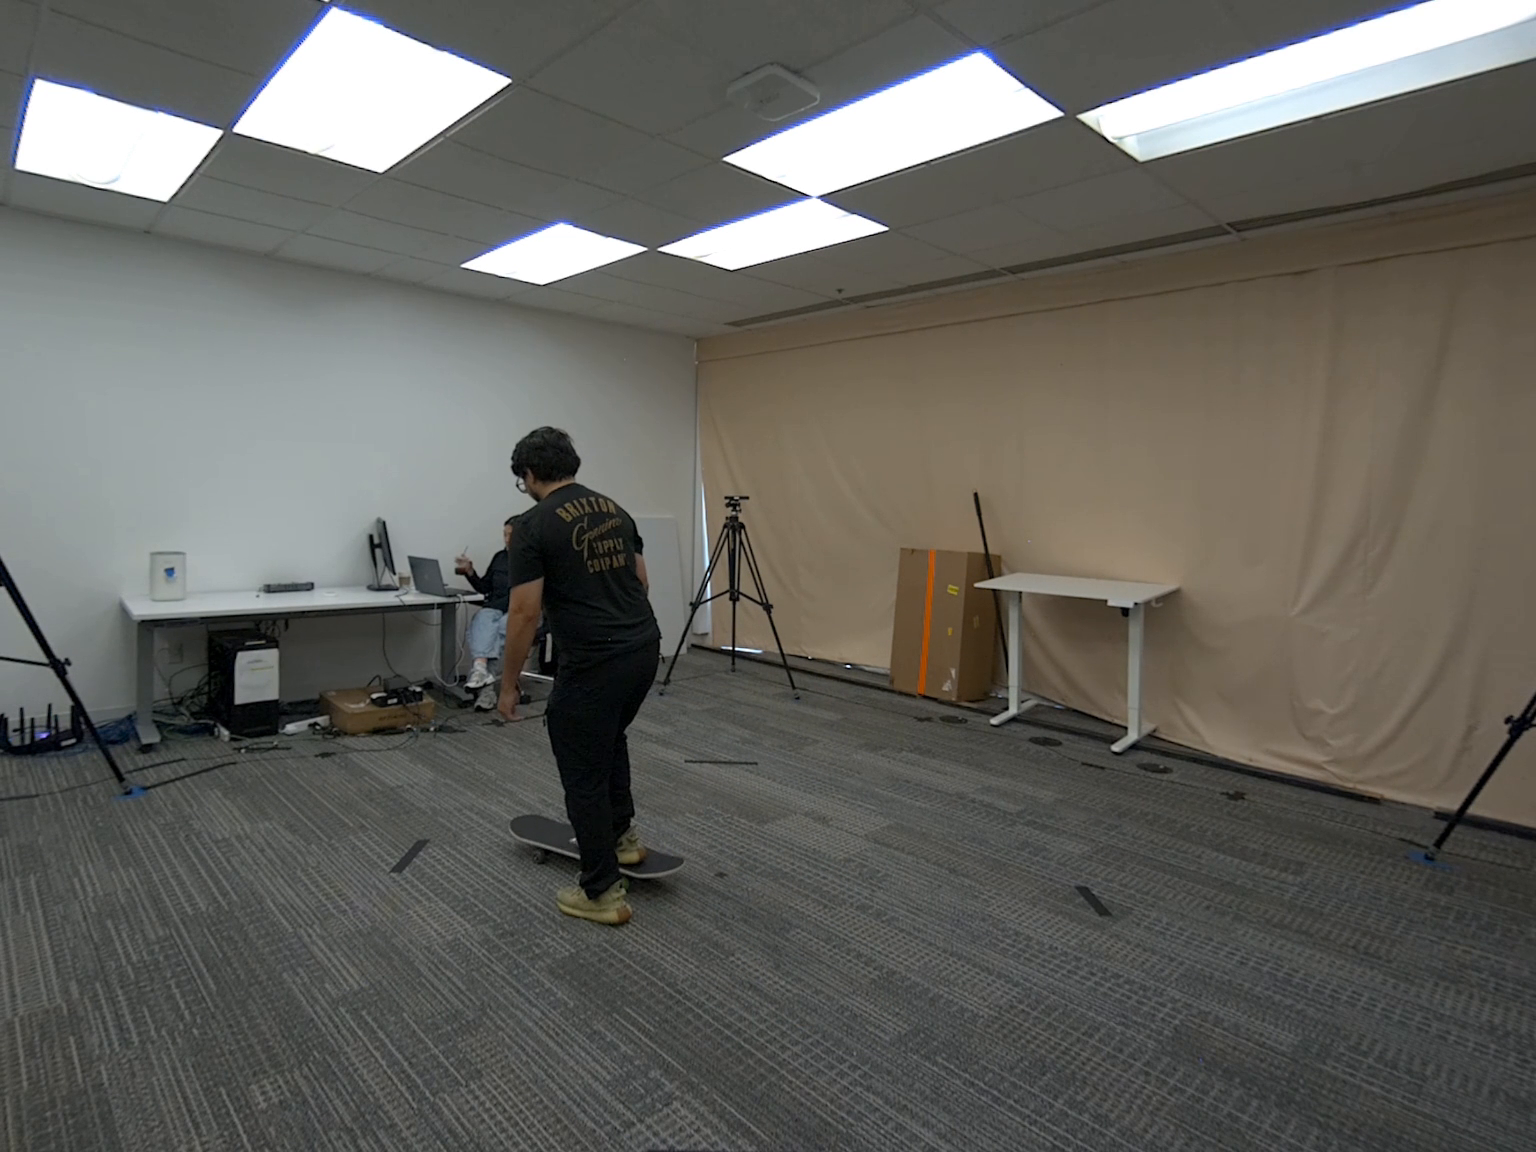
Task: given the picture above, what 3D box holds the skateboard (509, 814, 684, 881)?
[{"bbox_3d":[-0.661,1.039,3.126,0.803,0.110,0.190,5,7,30],"label":"skateboard"}]
